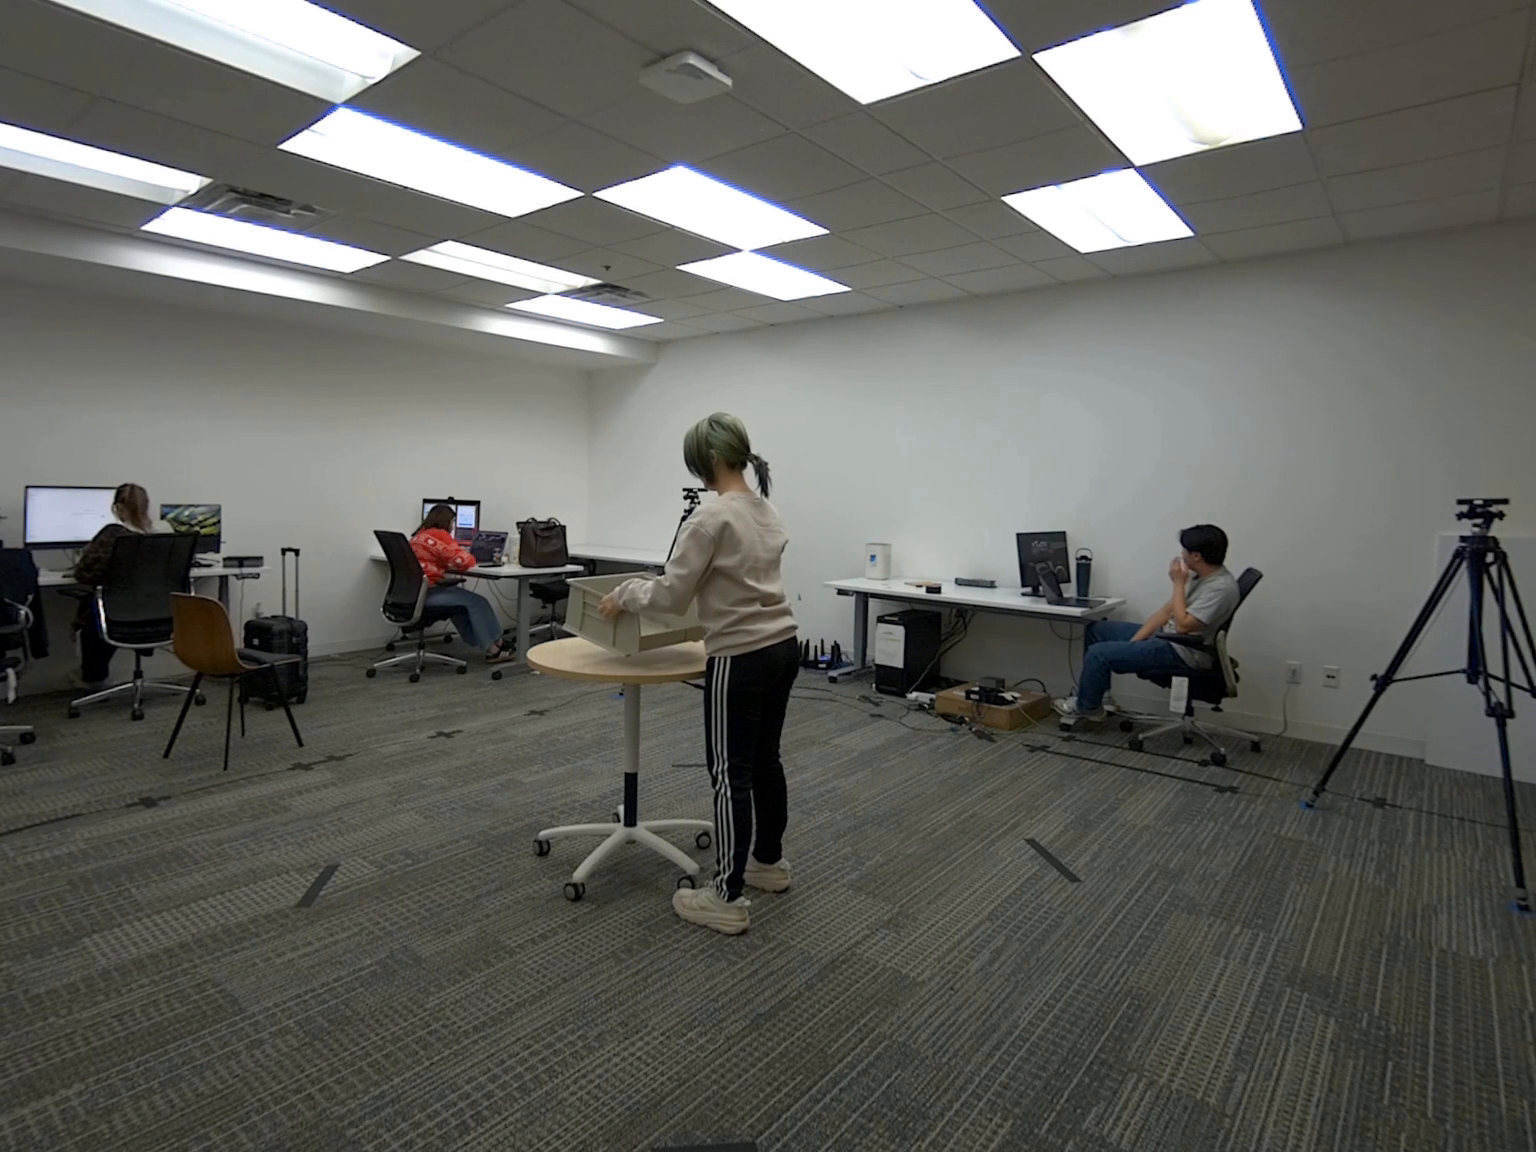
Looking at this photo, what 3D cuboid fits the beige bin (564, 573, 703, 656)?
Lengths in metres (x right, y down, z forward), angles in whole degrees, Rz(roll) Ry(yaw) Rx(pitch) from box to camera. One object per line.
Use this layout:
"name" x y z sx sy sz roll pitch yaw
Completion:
"beige bin" -0.472 0.132 3.070 0.391 0.187 0.411 16 13 33
